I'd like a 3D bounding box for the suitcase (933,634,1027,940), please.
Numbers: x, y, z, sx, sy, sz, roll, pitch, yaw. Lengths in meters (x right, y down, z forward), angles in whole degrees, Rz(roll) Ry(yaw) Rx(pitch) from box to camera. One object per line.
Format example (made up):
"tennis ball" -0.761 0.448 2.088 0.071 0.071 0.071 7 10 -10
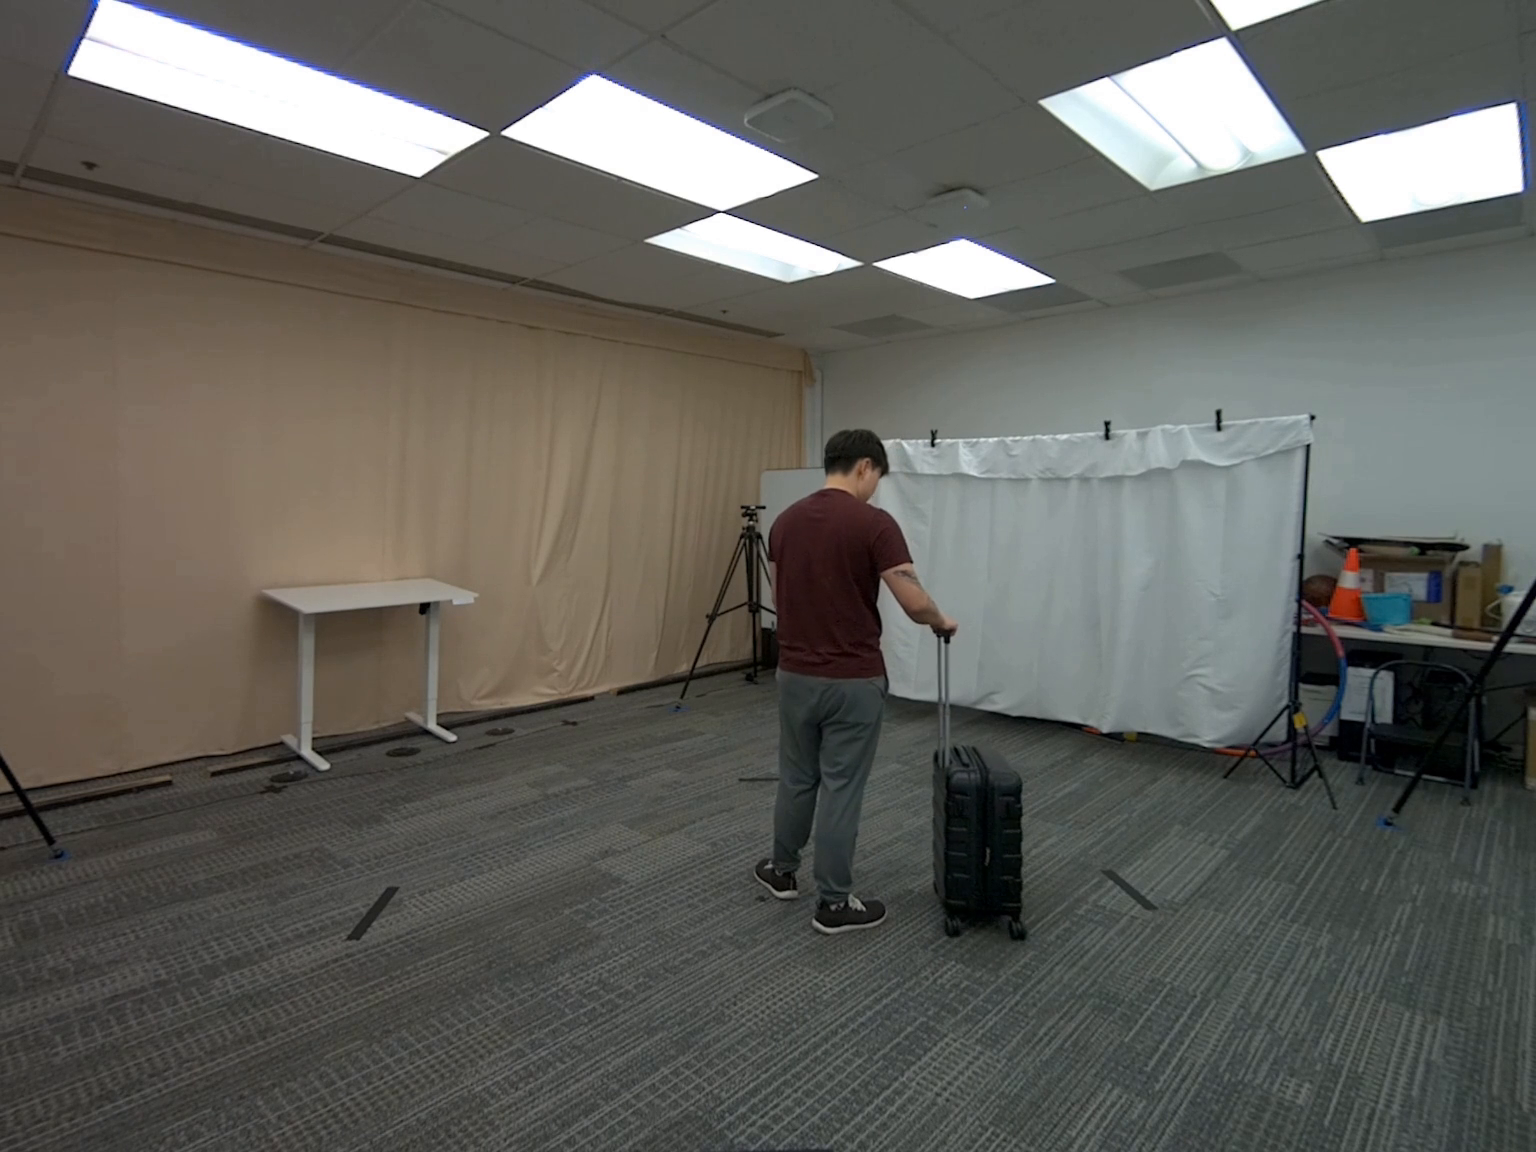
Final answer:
"suitcase" 0.709 0.677 2.855 0.258 0.977 0.382 0 2 4
